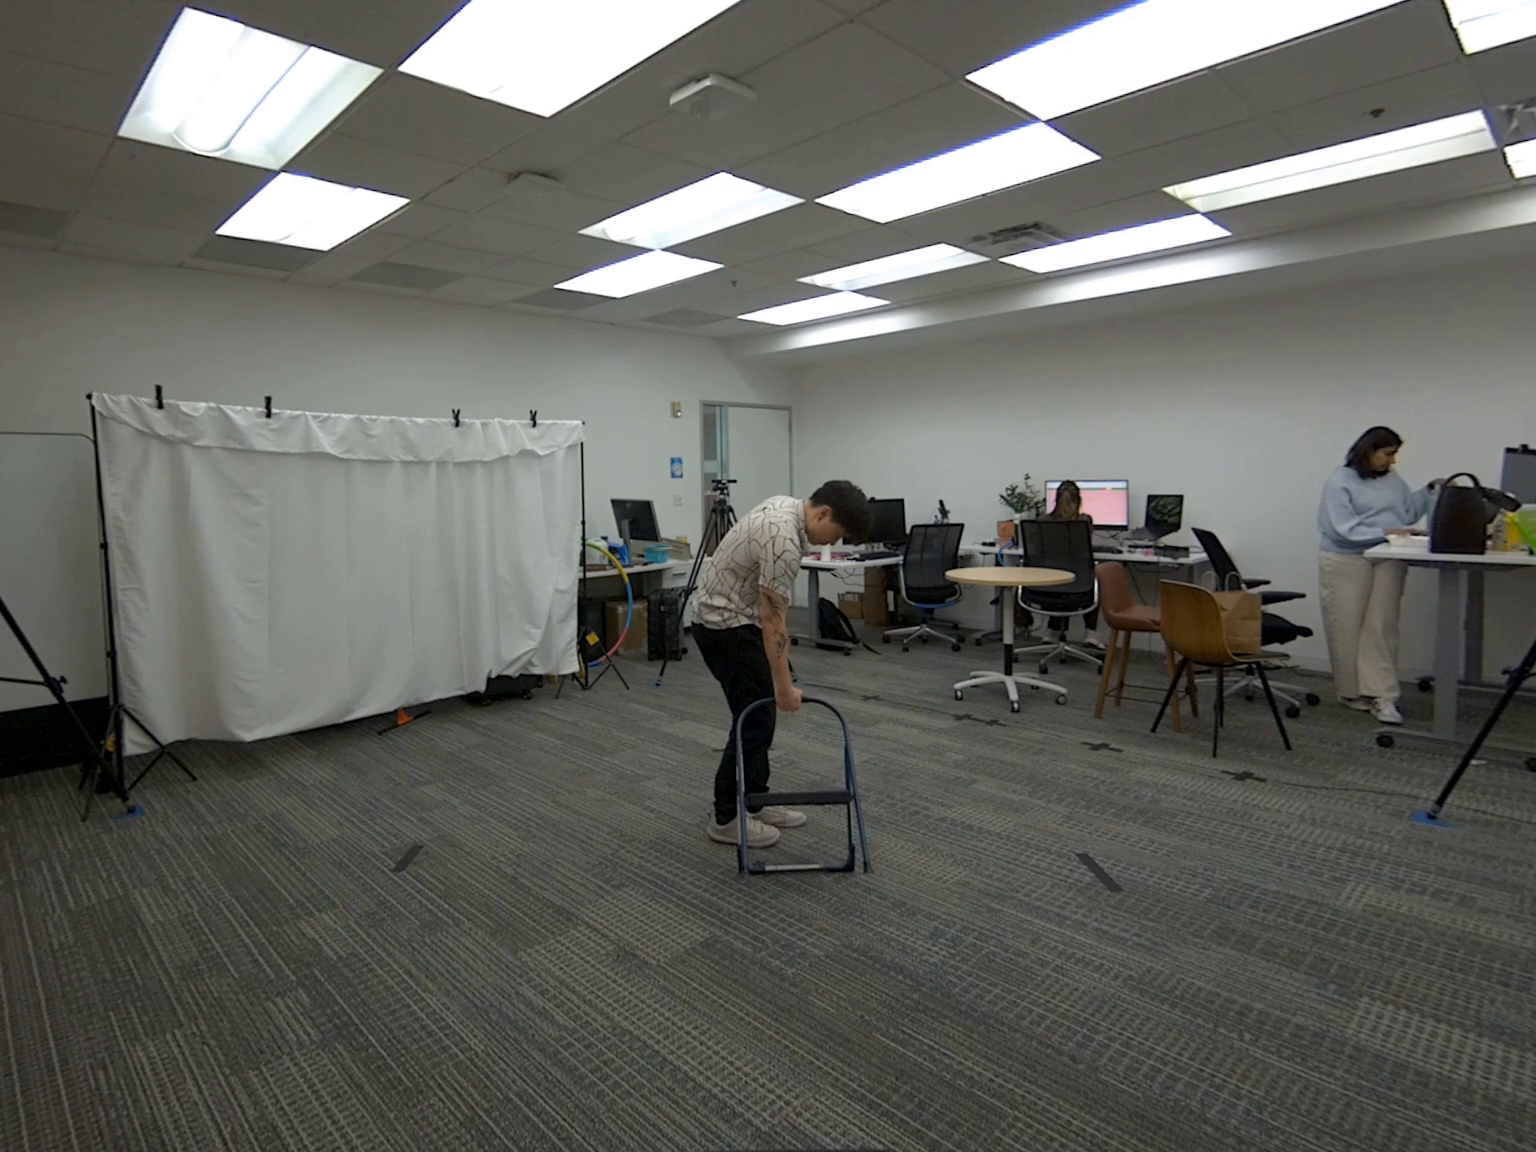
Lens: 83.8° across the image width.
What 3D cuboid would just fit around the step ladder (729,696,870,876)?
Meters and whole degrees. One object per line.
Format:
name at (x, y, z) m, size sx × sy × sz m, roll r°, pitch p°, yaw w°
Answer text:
step ladder at (0.107, 0.726, 2.988) m, size 0.430 × 0.616 × 0.344 m, roll -1°, pitch -18°, yaw -3°
